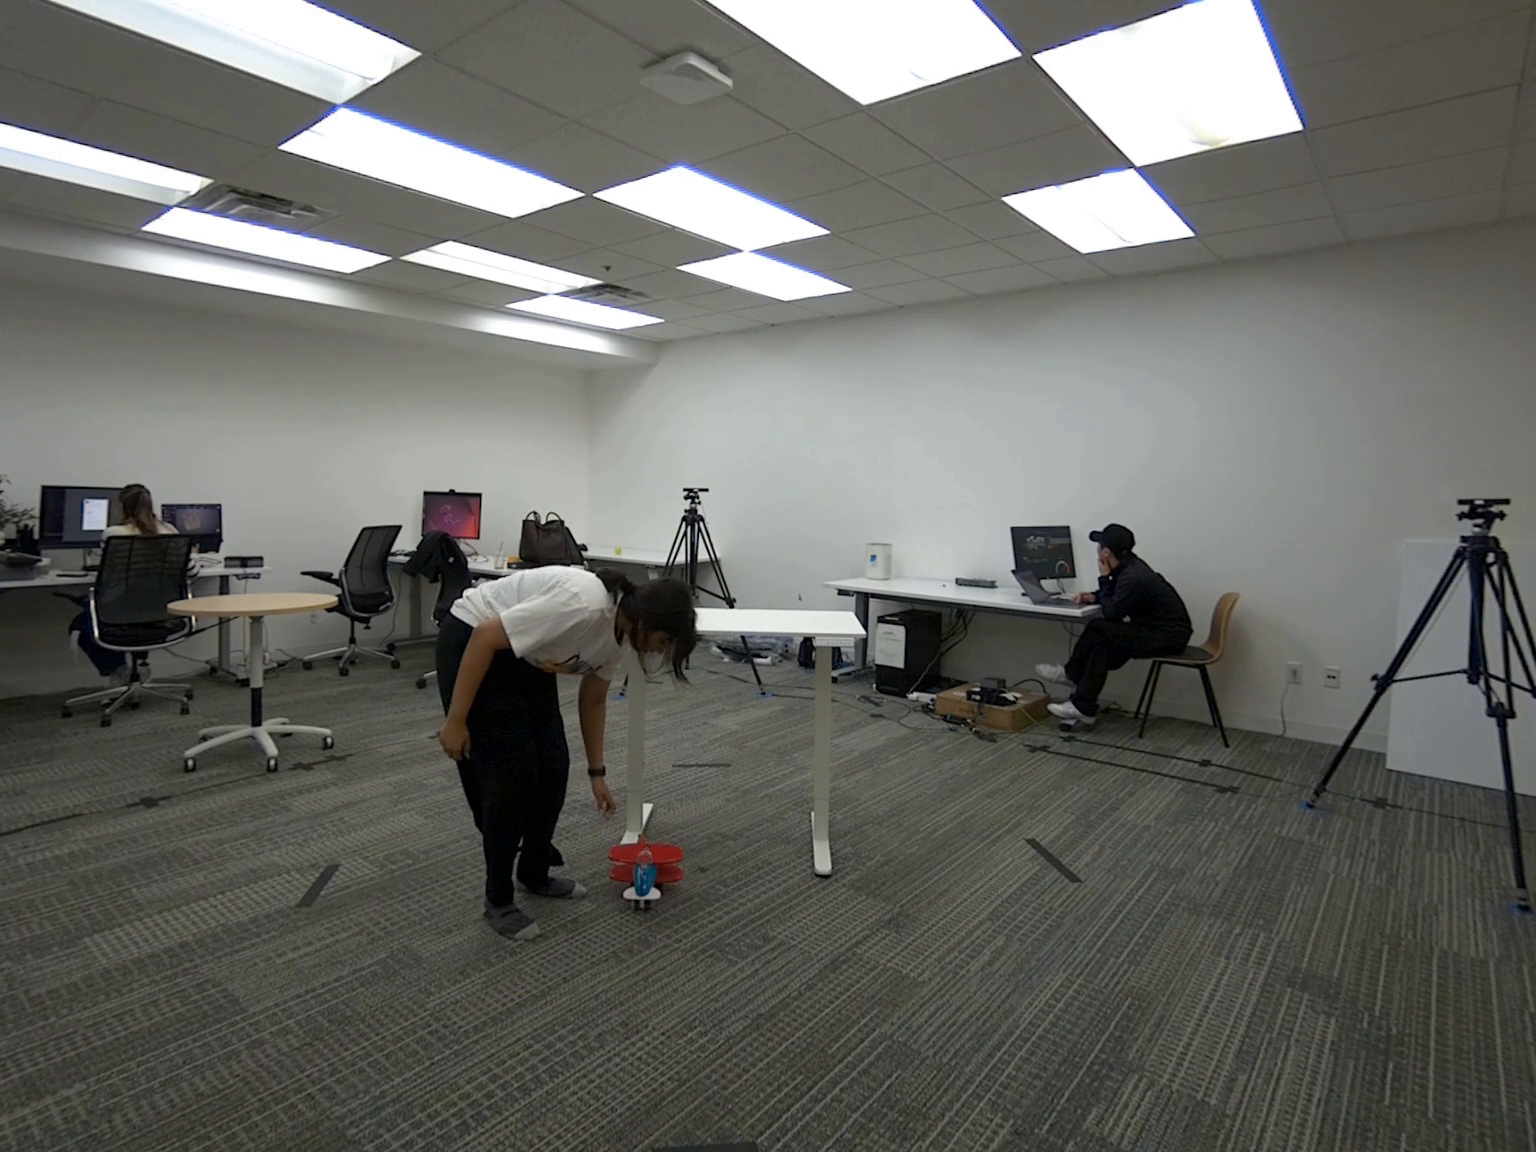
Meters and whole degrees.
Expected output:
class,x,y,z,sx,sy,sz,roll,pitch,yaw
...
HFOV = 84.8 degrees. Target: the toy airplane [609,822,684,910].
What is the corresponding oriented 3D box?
class,x,y,z,sx,sy,sz,roll,pitch,yaw
toy airplane,-0.407,1.028,2.886,0.244,0.155,0.268,-5,9,-32
